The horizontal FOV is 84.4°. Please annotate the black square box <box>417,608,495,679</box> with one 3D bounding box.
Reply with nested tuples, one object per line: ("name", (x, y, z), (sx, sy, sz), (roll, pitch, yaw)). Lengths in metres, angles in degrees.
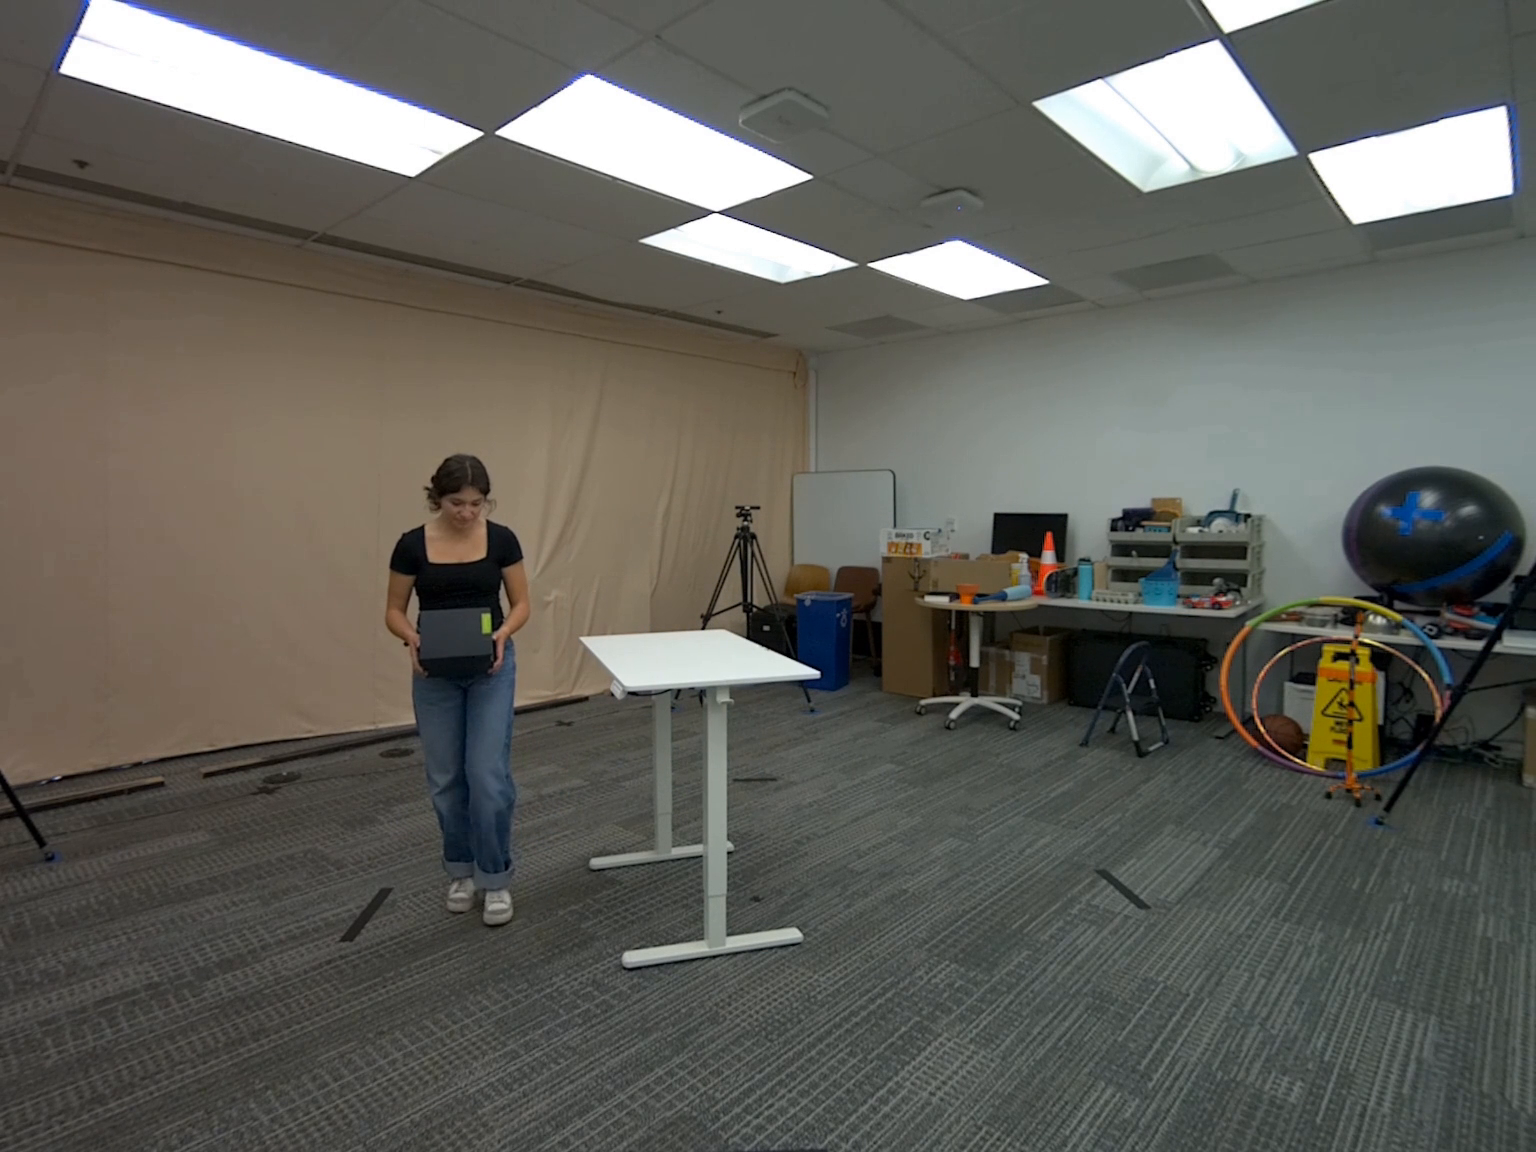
("black square box", (-1.014, 0.215, 2.703), (0.213, 0.158, 0.228), (-2, -20, -17))
